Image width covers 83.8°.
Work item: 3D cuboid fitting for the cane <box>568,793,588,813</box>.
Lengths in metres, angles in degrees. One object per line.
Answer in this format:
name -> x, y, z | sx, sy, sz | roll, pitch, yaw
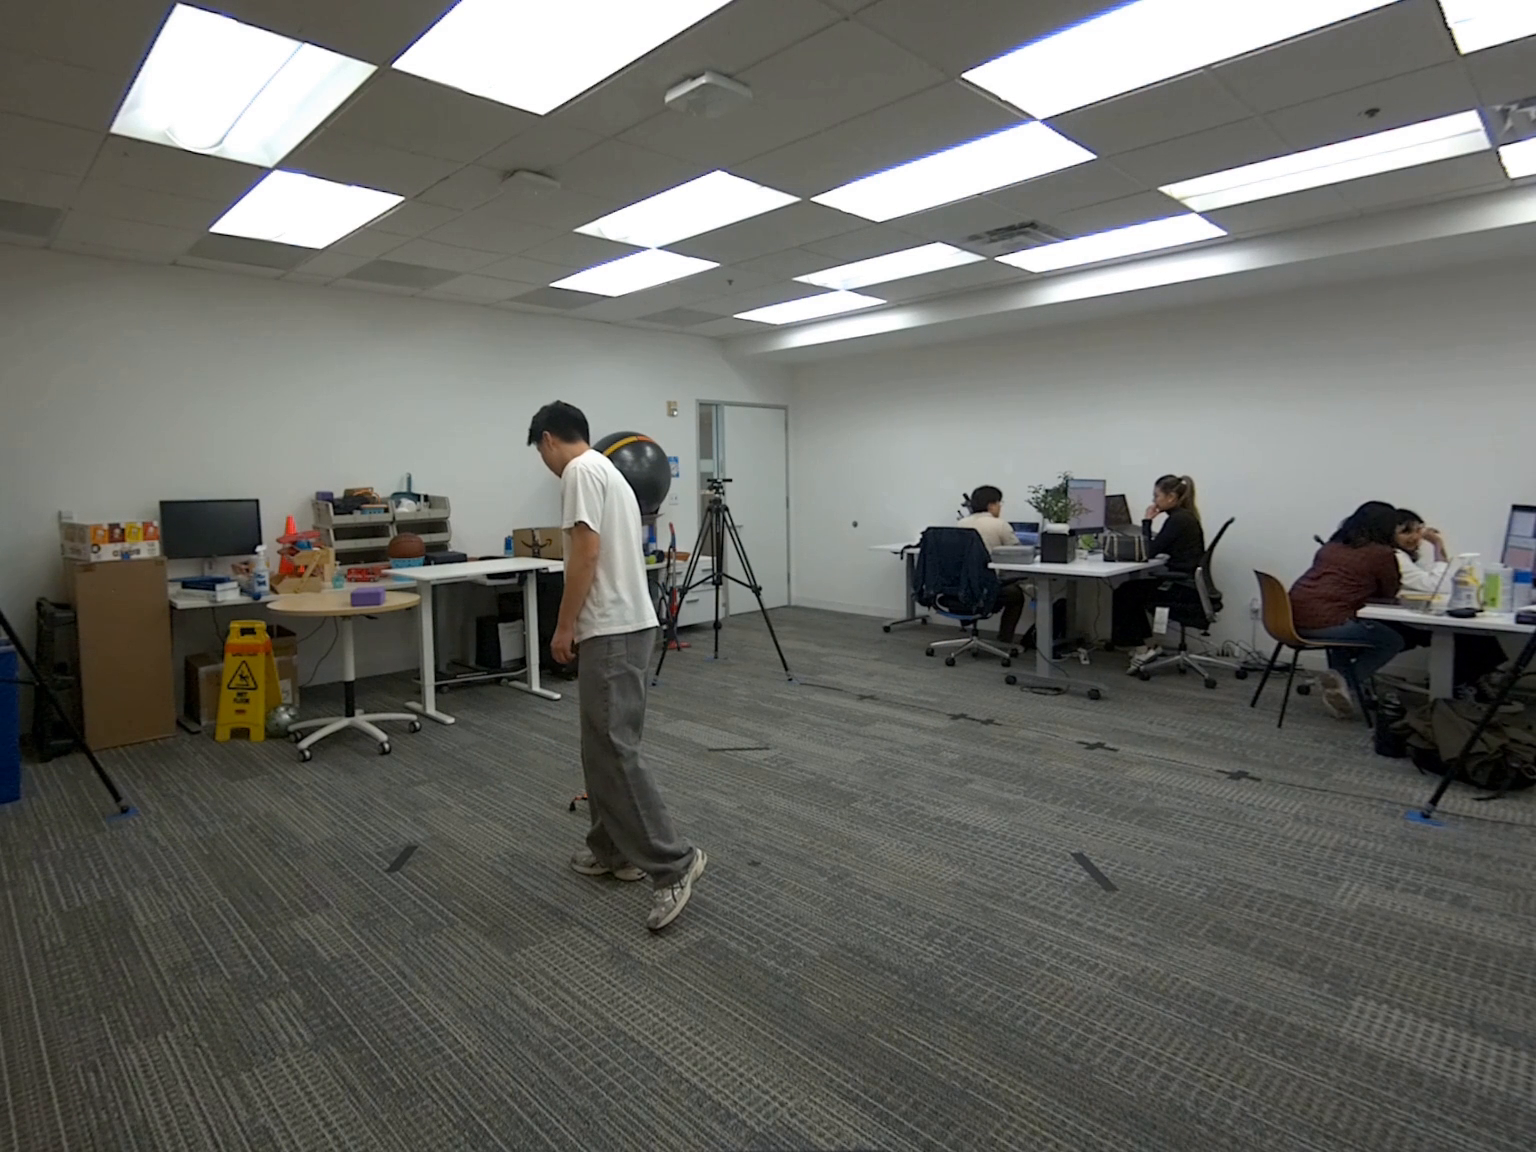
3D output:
cane -> -0.744, 0.547, 3.612 | 0.212, 0.903, 0.148 | 0, 6, 30
